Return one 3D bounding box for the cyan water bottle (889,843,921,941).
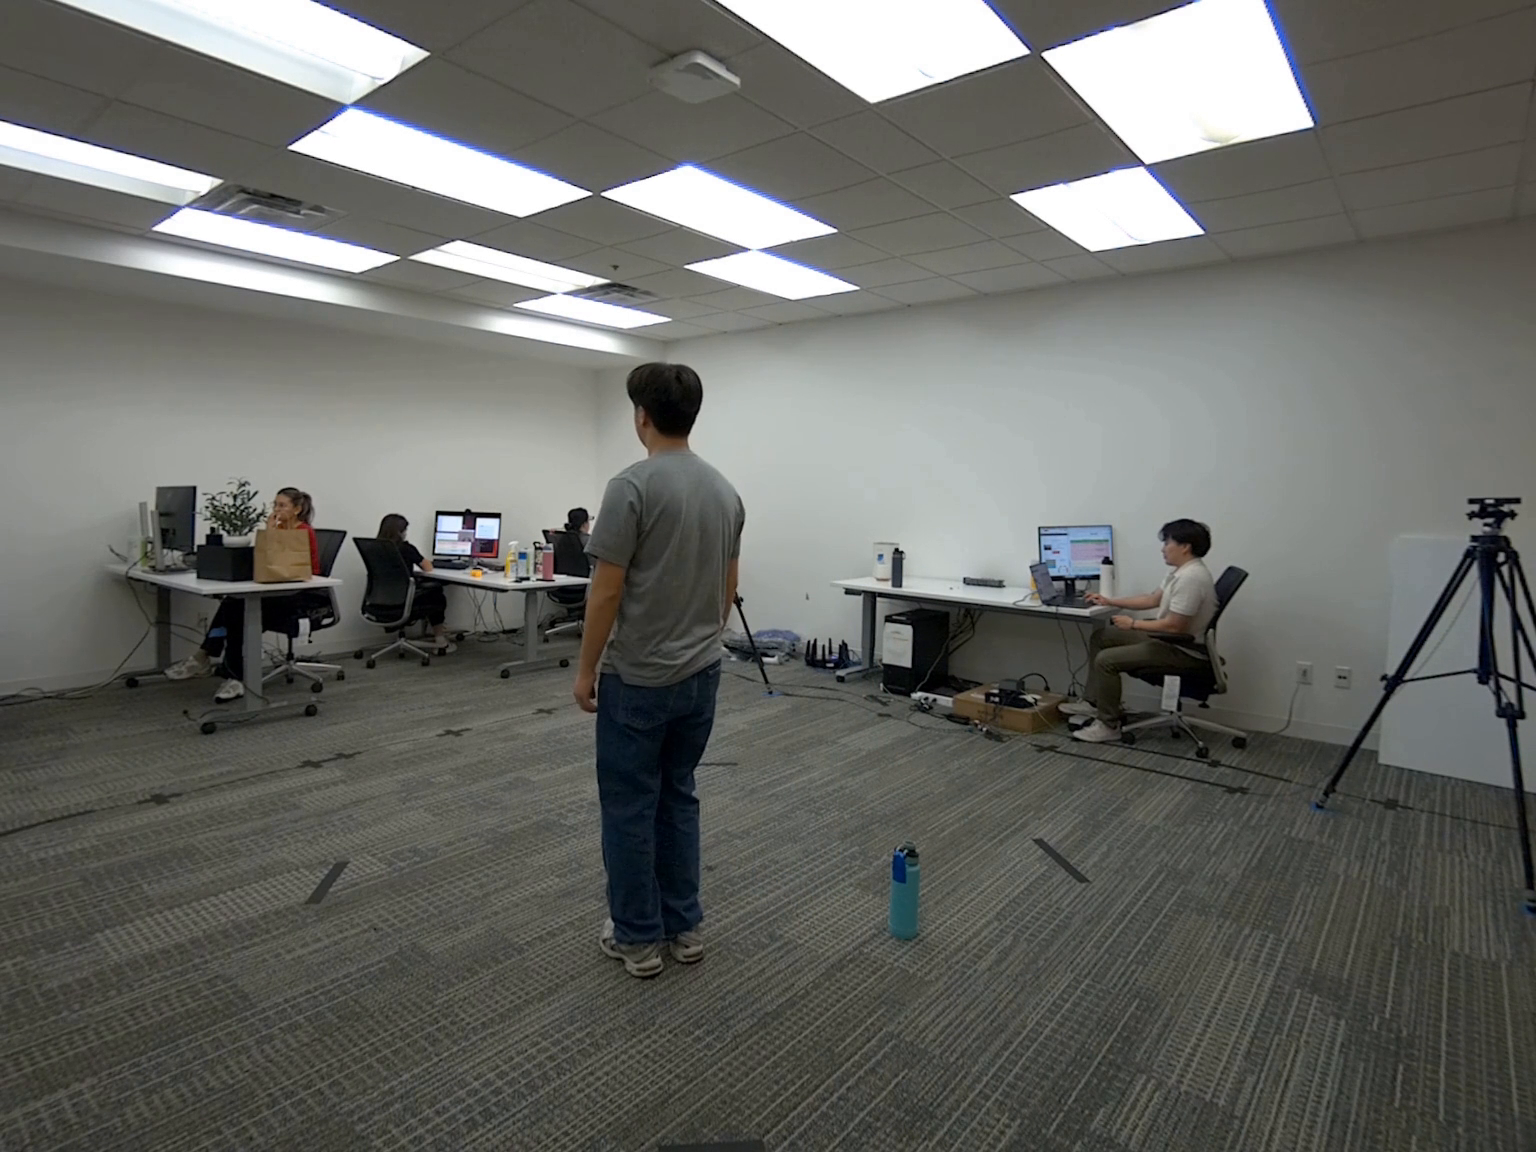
[{"bbox_3d":[0.425,0.985,2.682,0.092,0.282,0.093,0,3,-2],"label":"cyan water bottle"}]
